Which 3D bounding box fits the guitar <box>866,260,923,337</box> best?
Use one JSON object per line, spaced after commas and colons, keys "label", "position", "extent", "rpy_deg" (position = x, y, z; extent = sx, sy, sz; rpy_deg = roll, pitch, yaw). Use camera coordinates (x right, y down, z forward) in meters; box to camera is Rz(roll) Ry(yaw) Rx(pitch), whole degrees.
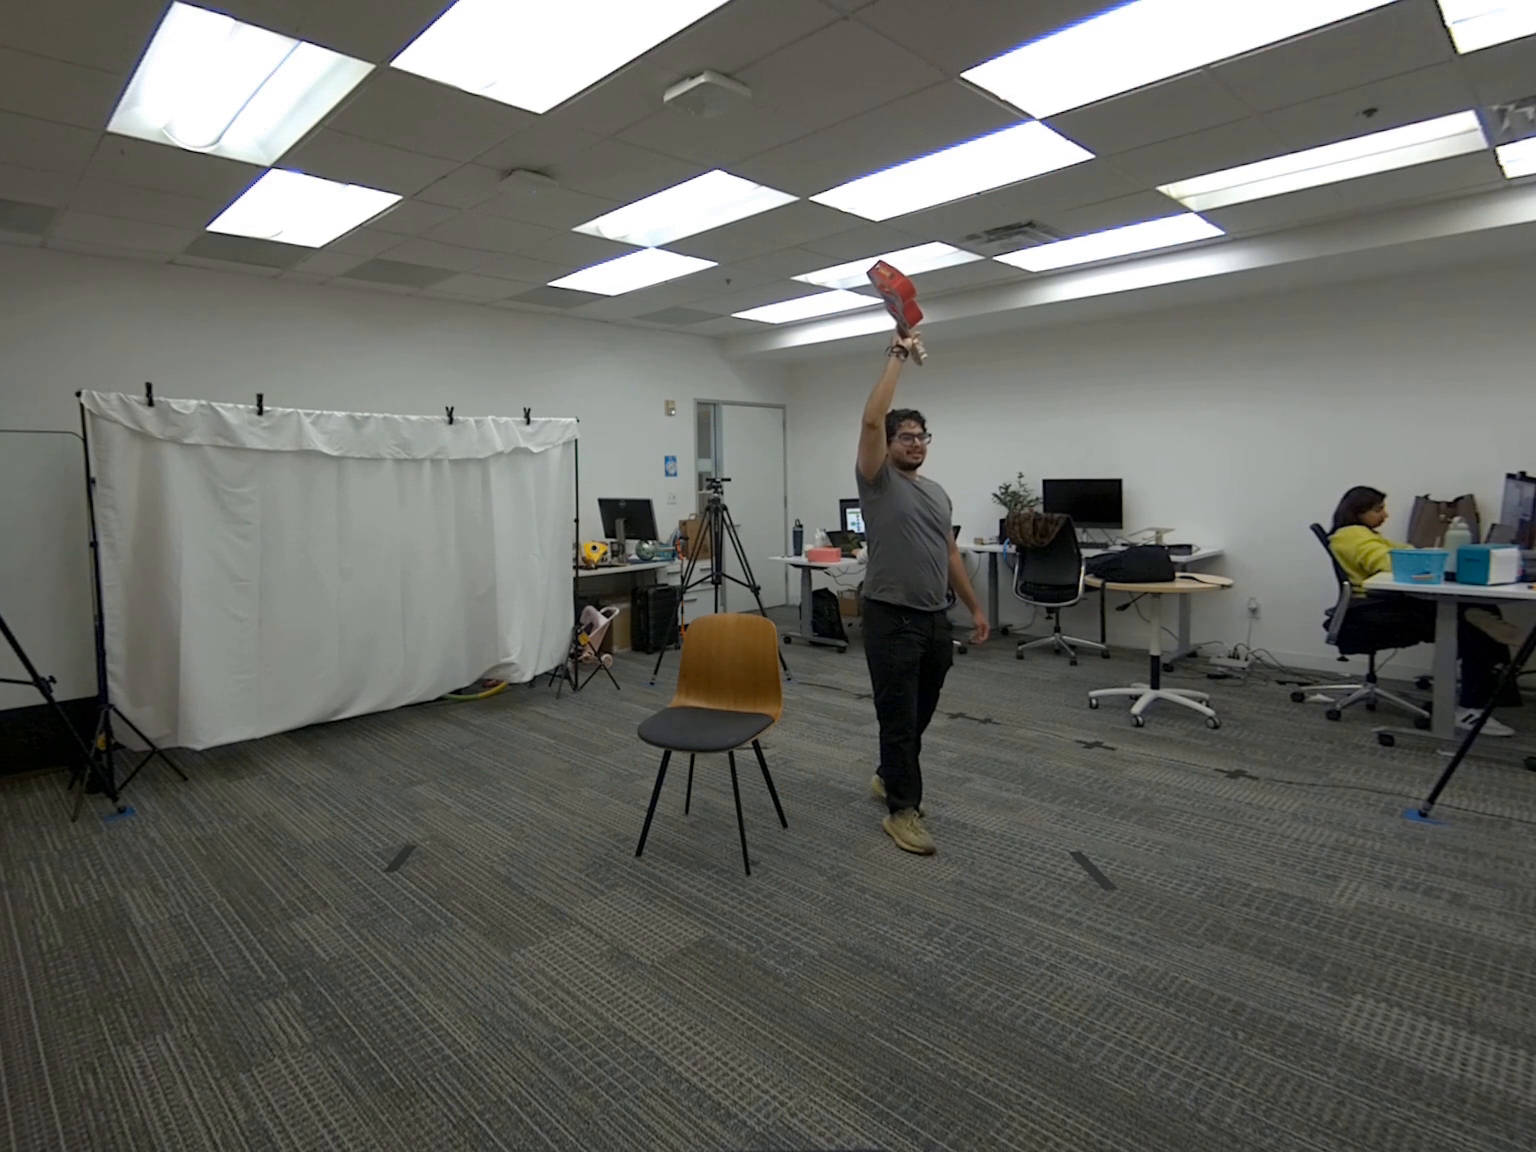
{"label": "guitar", "position": [0.485, -0.950, 3.096], "extent": [0.071, 0.199, 0.481], "rpy_deg": [-41, -27, 3]}
